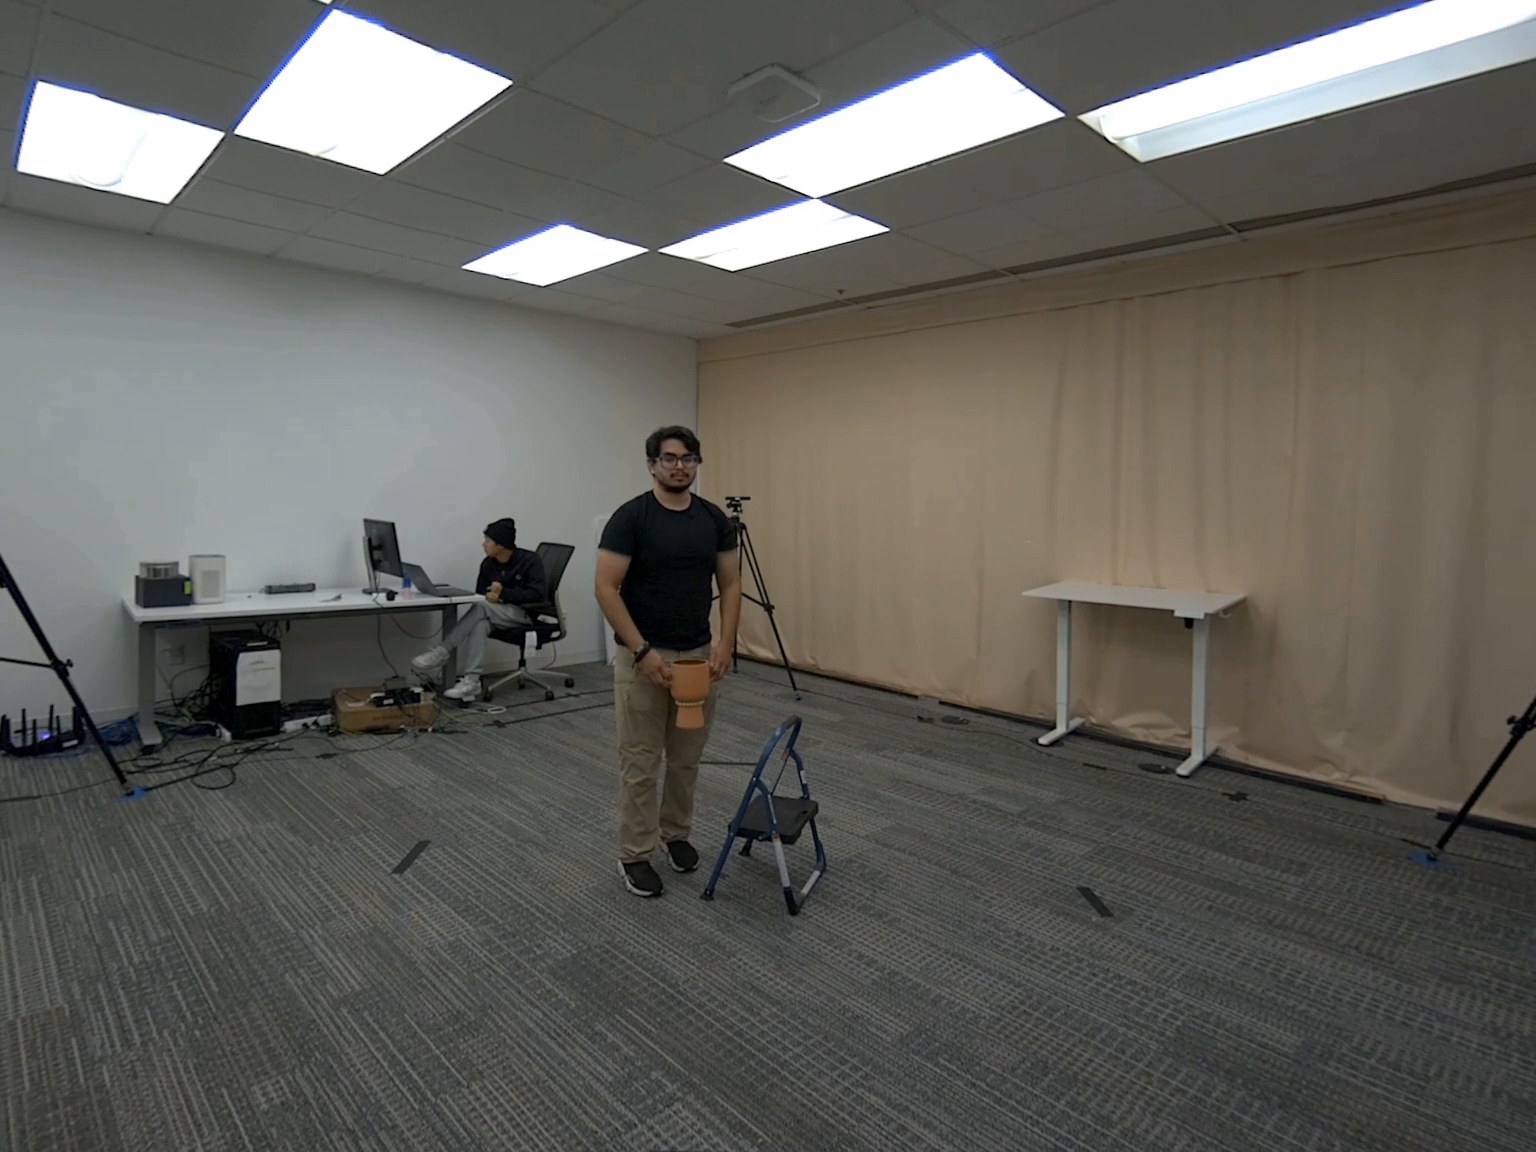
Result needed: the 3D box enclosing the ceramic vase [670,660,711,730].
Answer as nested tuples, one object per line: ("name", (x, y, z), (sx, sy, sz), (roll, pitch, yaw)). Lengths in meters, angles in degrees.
("ceramic vase", (-0.288, 0.410, 2.911), (0.161, 0.219, 0.133), (0, 3, 16))
